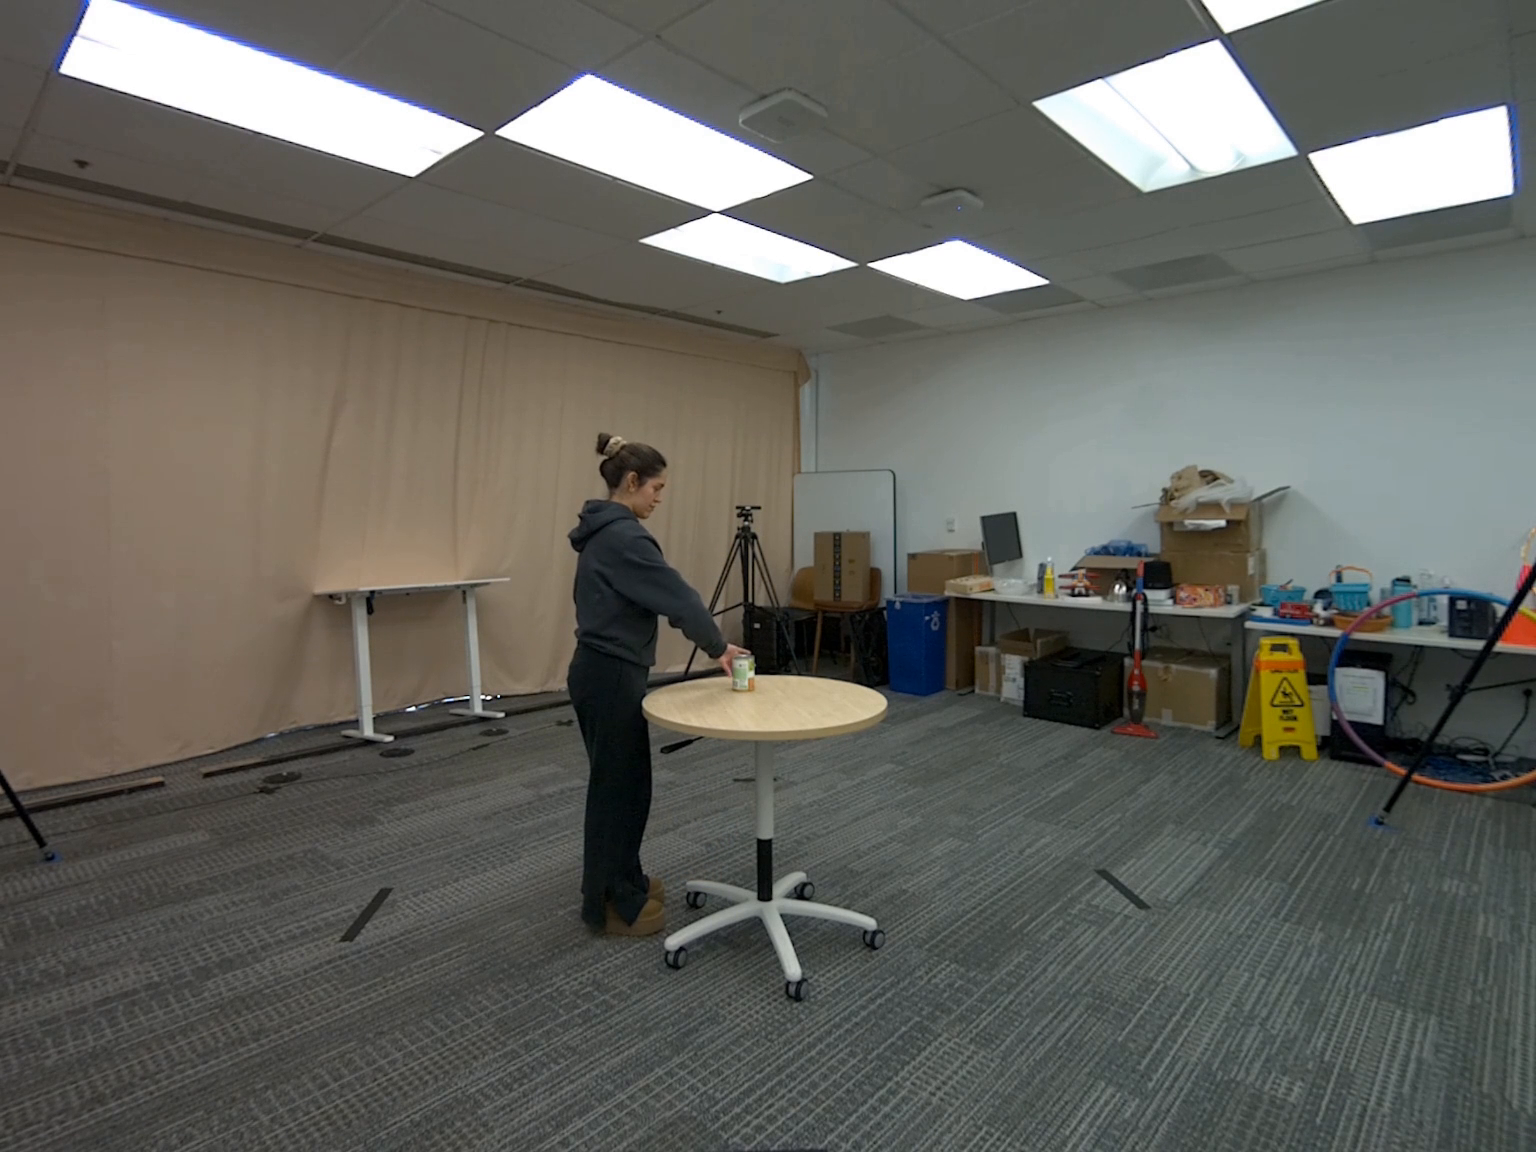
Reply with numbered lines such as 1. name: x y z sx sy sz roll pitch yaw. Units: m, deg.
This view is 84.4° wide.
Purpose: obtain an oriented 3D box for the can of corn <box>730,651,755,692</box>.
1. can of corn: -0.072 0.325 2.782 0.074 0.111 0.074 -5 4 -1
